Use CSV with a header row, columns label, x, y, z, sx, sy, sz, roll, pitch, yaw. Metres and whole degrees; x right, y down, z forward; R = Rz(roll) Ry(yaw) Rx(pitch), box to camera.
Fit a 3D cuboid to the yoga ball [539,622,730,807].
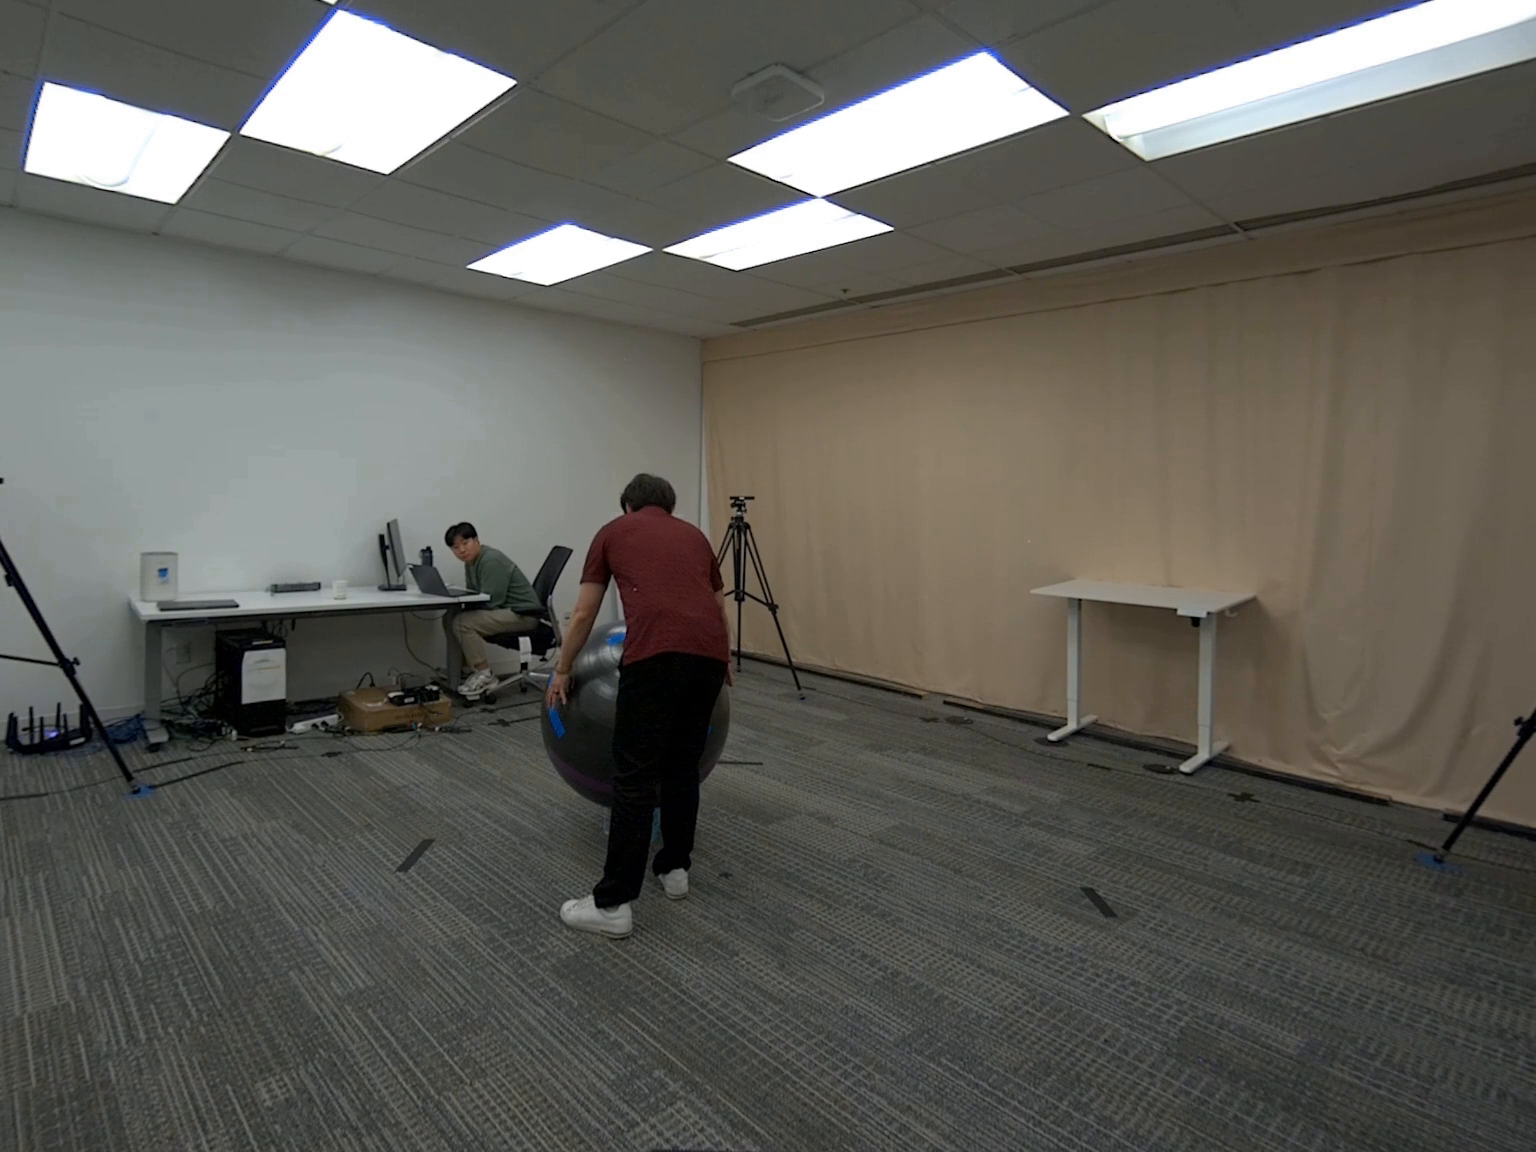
label,x,y,z,sx,sy,sz,roll,pitch,yaw
yoga ball,-0.538,0.561,3.410,0.757,0.756,0.761,1,4,-1
